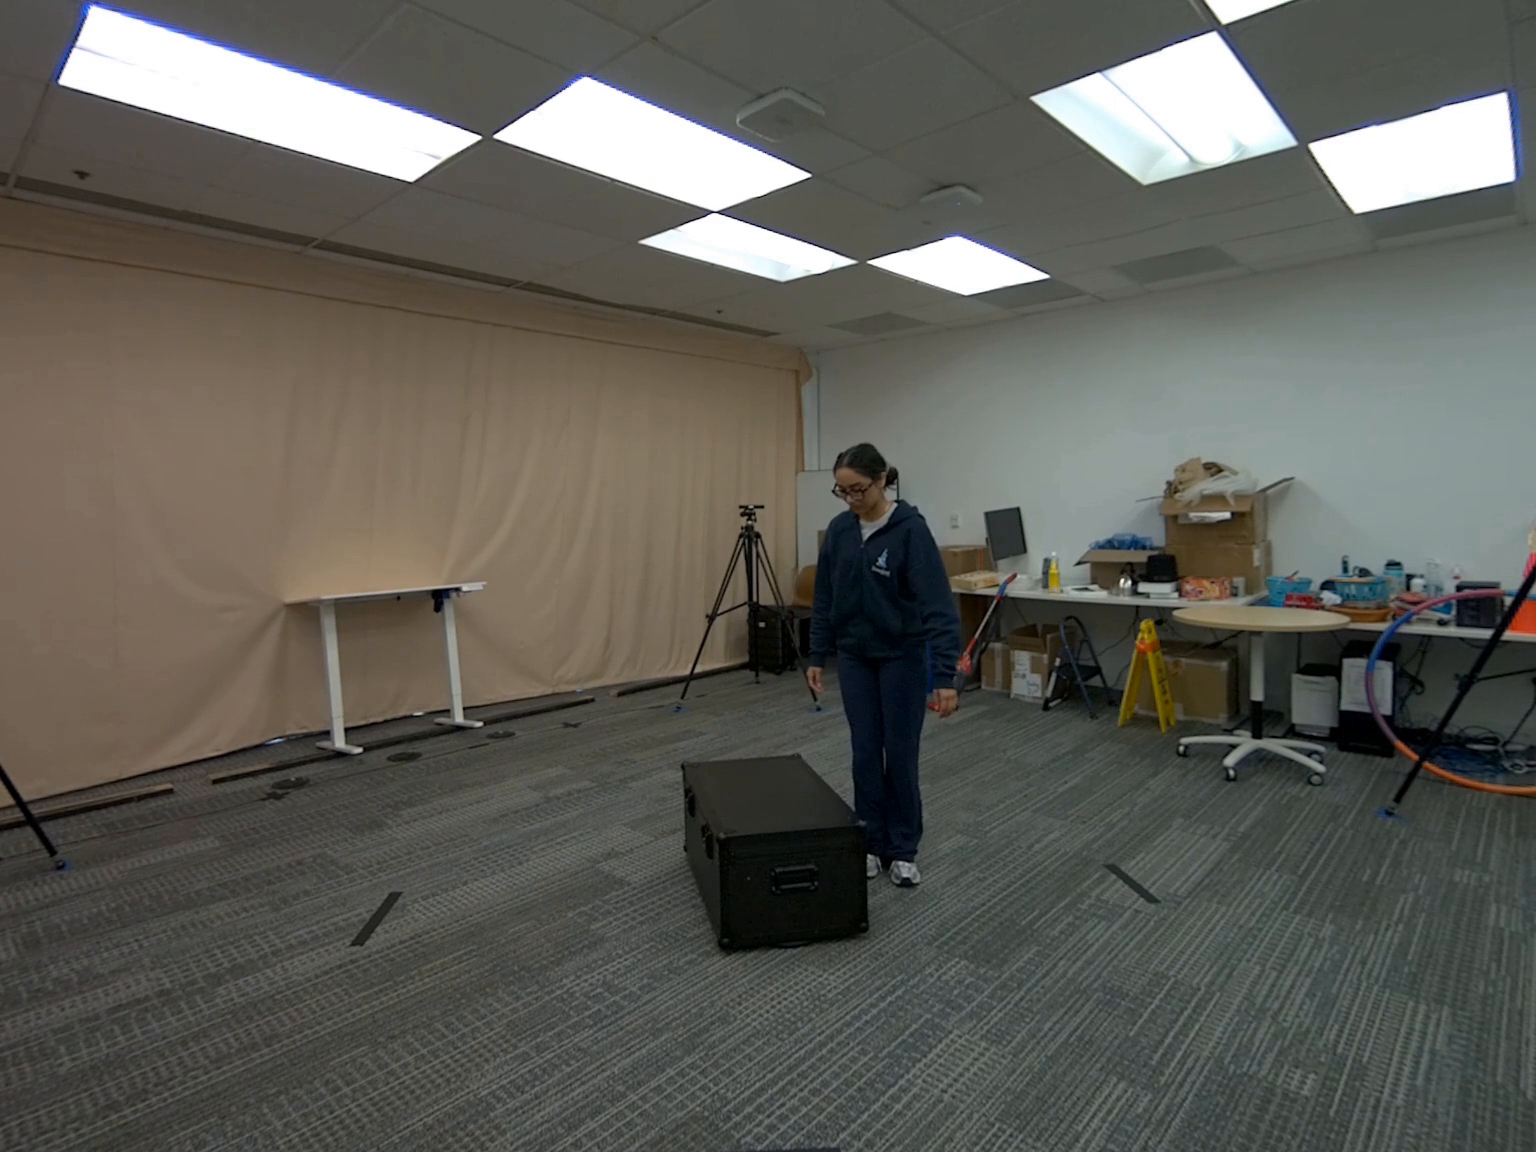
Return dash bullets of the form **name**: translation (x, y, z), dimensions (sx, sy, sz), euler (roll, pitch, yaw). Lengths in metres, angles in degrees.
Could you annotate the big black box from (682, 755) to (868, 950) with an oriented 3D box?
- **big black box**: translation (-0.013, 0.946, 3.045), dimensions (0.515, 0.395, 0.875), euler (-2, 5, -13)
